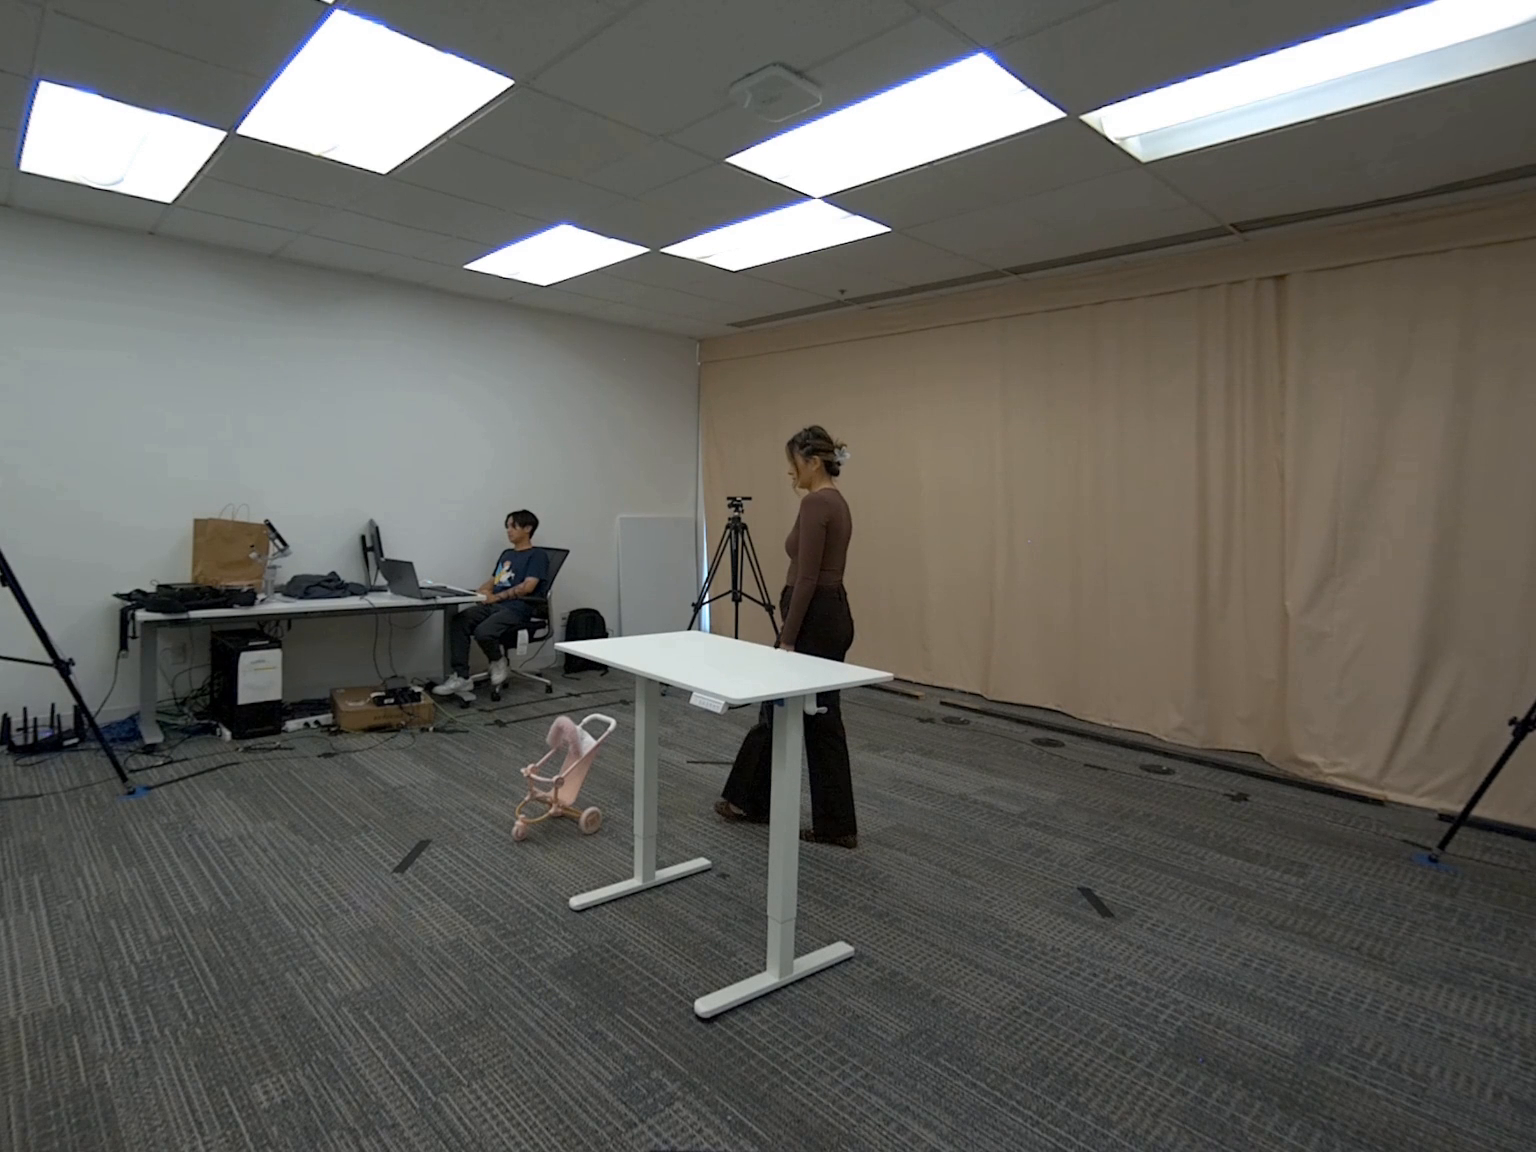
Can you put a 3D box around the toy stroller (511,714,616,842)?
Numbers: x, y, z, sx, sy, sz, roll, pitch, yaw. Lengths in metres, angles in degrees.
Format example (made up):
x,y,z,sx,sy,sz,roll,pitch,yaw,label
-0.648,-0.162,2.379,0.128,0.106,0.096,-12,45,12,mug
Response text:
x,y,z,sx,sy,sz,roll,pitch,yaw,label
-0.869,0.830,3.497,0.331,0.537,0.288,18,-8,-41,toy stroller
